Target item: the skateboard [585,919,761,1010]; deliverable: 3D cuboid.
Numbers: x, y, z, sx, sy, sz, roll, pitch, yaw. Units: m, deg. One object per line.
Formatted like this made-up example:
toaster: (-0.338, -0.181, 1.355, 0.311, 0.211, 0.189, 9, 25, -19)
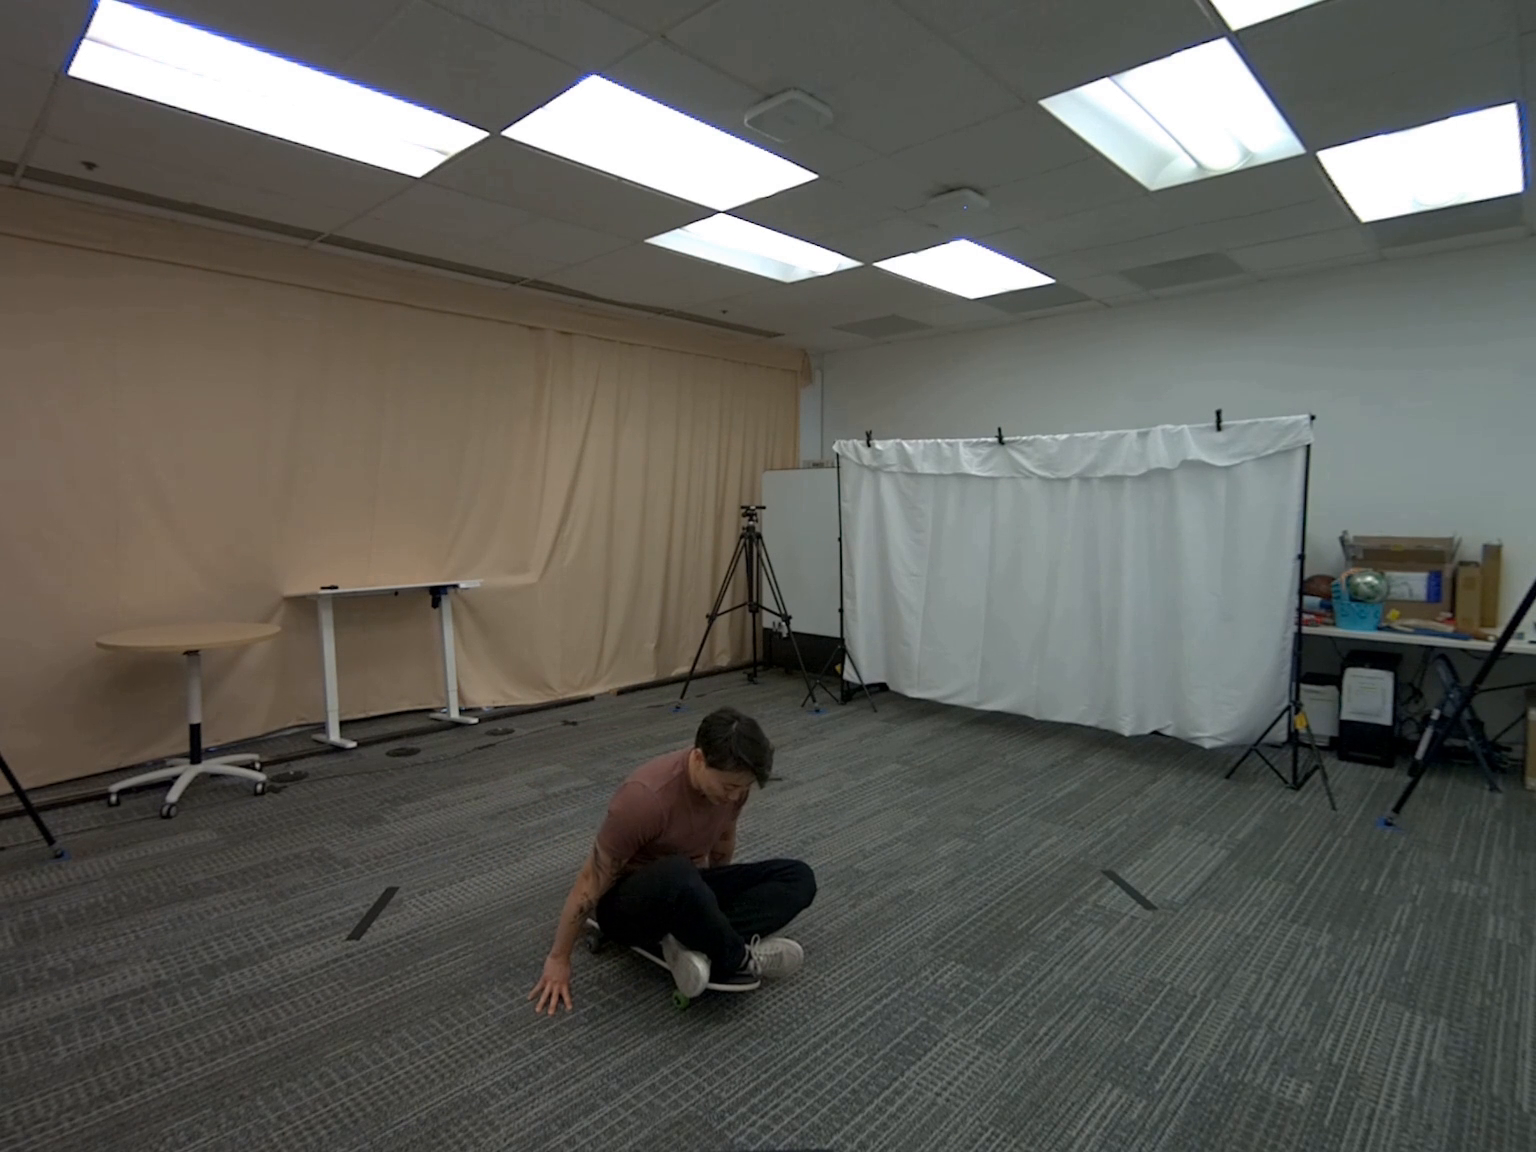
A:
skateboard: (-0.335, 1.132, 2.538, 0.811, 0.111, 0.186, 3, -8, 43)
